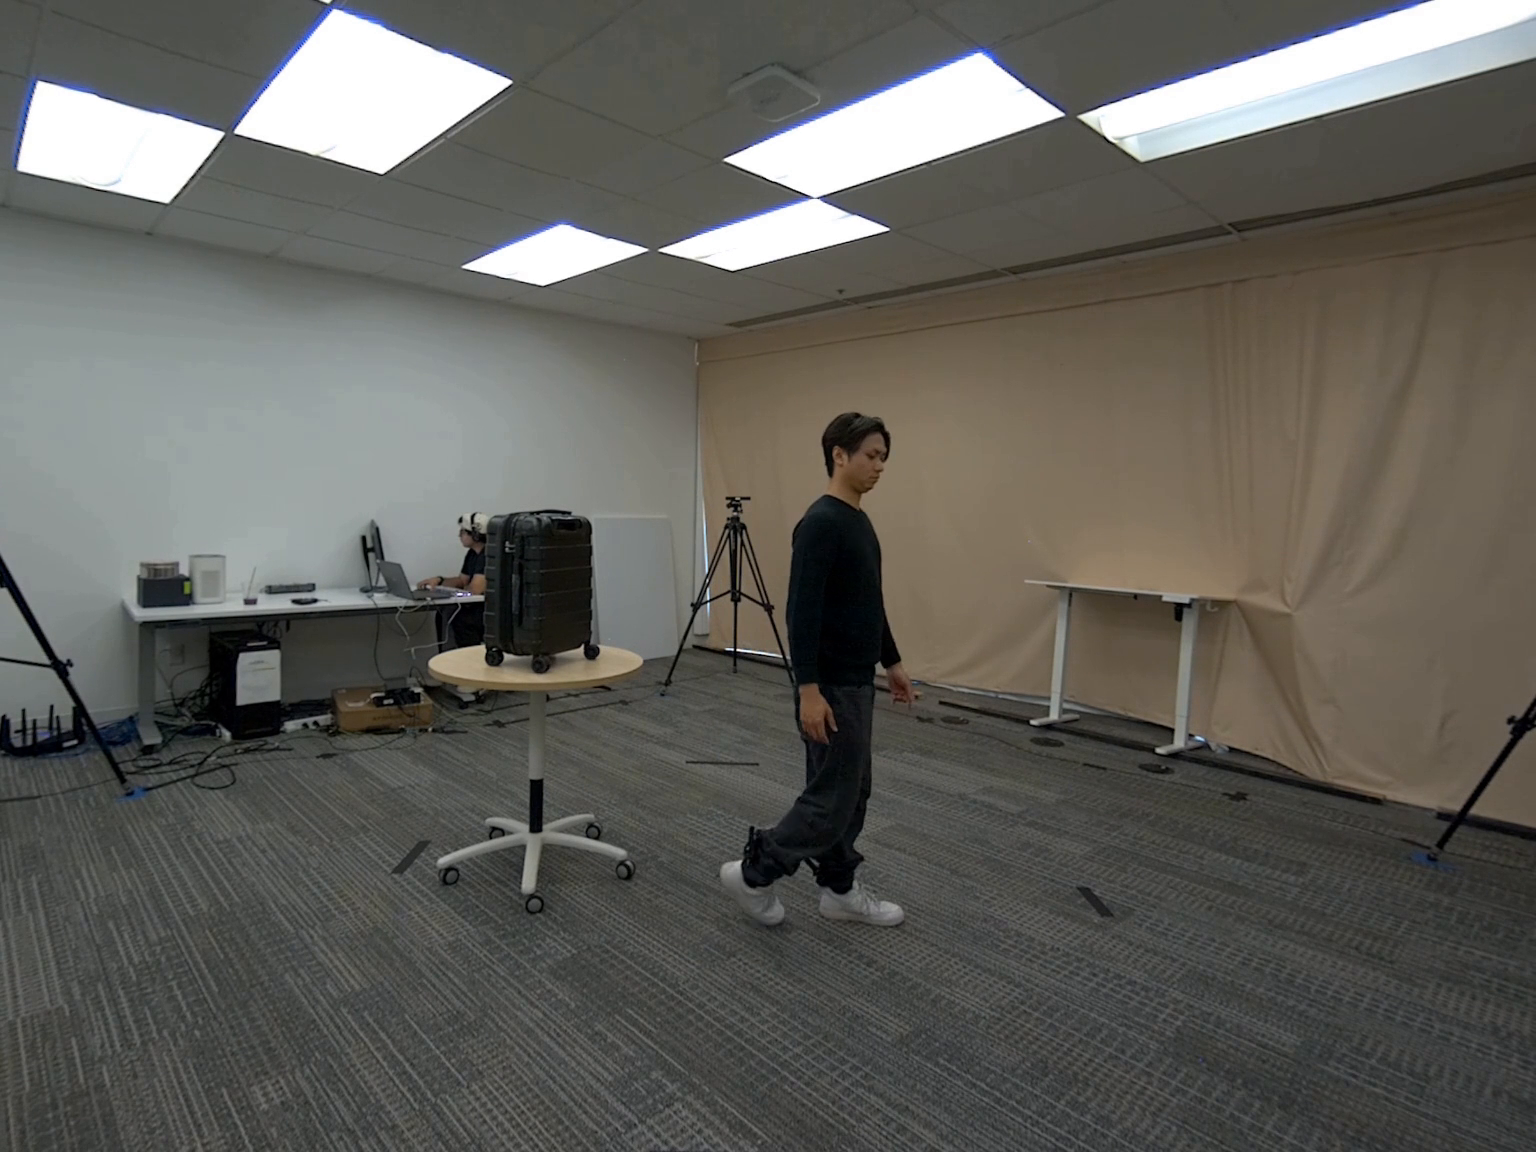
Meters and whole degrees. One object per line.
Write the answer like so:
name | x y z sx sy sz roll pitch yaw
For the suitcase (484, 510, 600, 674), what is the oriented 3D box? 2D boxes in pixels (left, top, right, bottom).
suitcase | -0.827 0.038 3.046 0.253 0.548 0.369 2 4 26
